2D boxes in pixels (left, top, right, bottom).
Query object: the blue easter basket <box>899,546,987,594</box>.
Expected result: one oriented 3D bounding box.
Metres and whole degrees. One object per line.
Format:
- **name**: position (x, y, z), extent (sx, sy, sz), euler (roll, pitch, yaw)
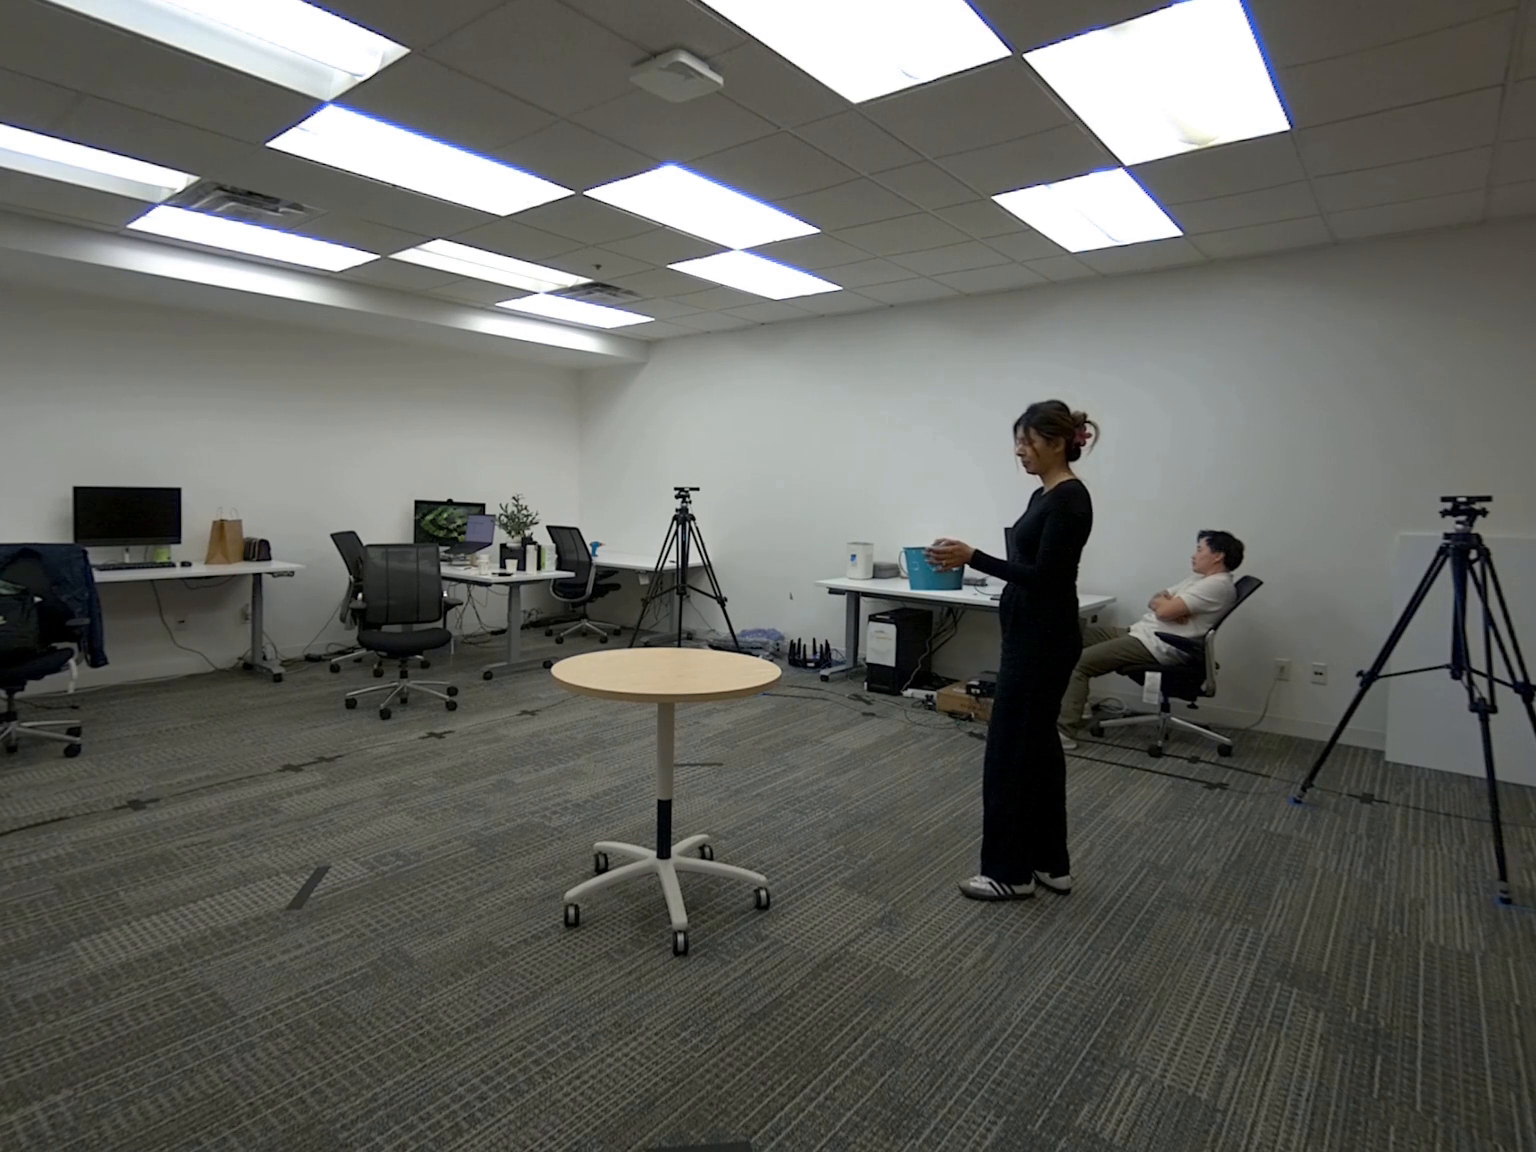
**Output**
- **blue easter basket**: position (0.620, -0.022, 3.022), extent (0.243, 0.156, 0.243), euler (2, -1, -2)
